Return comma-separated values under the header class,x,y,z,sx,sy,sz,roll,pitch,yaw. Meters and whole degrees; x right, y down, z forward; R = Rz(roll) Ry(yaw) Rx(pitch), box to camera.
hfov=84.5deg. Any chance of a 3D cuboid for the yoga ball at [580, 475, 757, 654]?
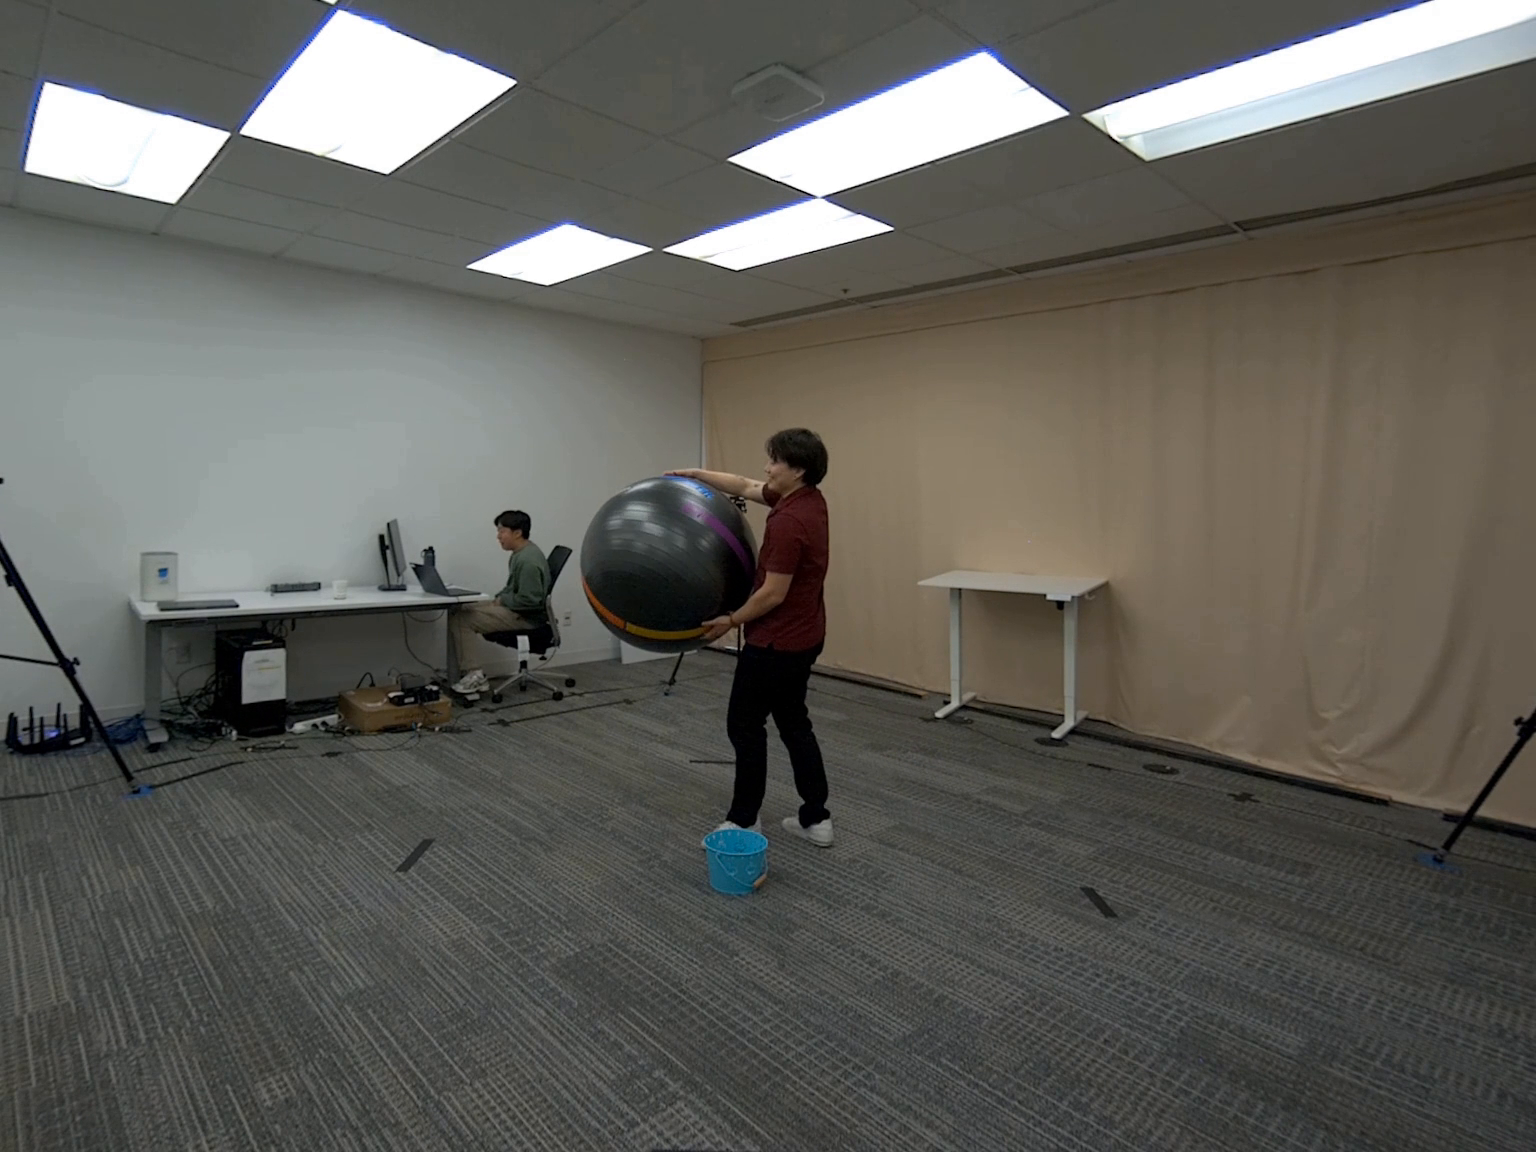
class,x,y,z,sx,sy,sz,roll,pitch,yaw
yoga ball,-0.426,-0.049,3.621,0.757,0.756,0.761,1,4,-1
